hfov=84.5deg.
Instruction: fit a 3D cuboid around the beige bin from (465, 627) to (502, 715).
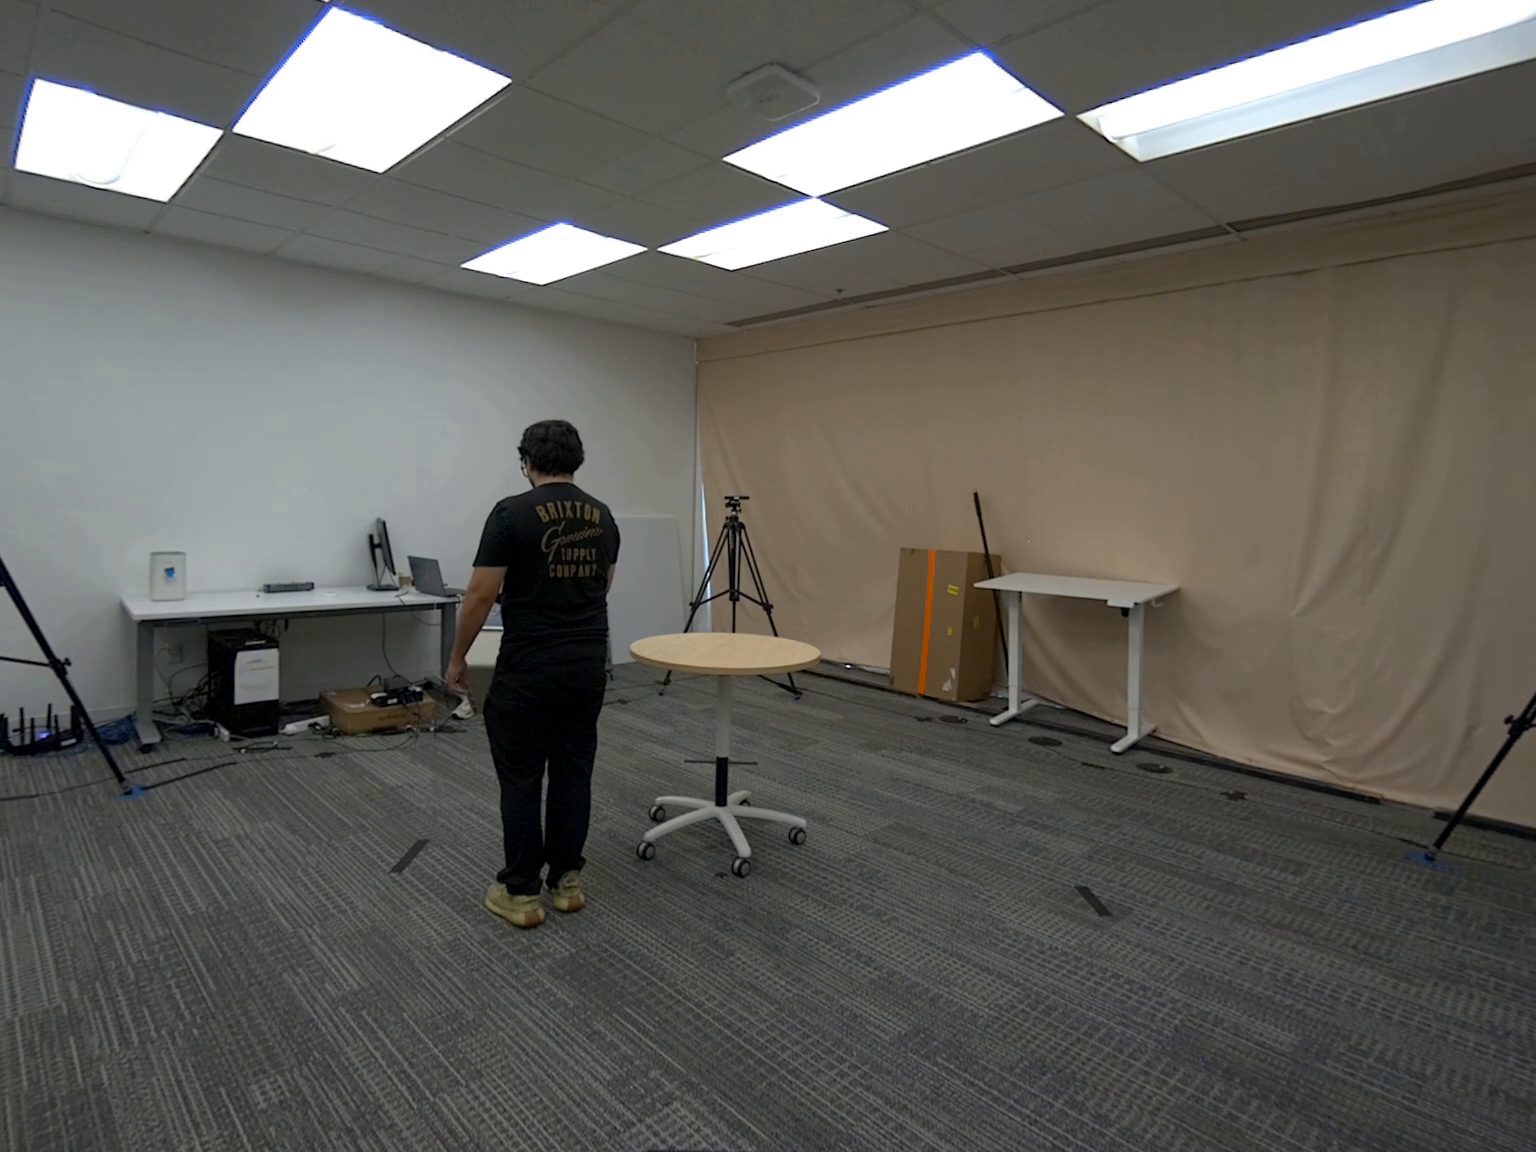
[{"bbox_3d":[-0.944,0.381,3.232,0.423,0.193,0.369,4,-39,2],"label":"beige bin"}]
